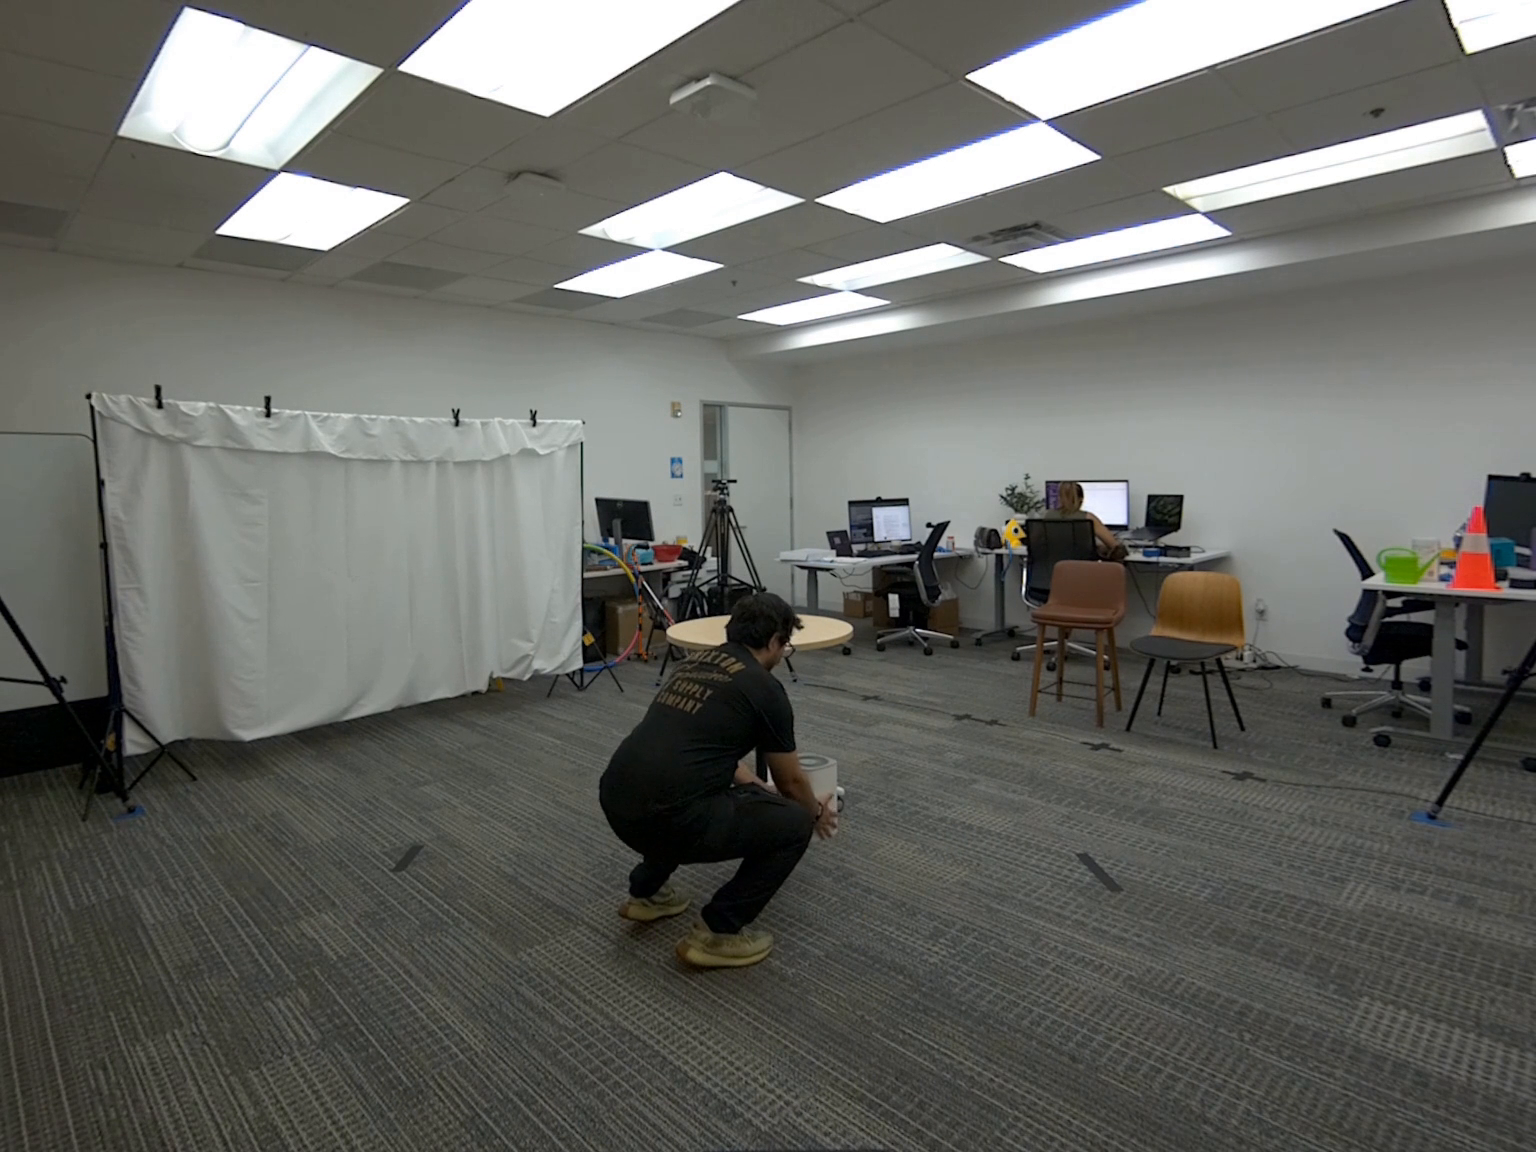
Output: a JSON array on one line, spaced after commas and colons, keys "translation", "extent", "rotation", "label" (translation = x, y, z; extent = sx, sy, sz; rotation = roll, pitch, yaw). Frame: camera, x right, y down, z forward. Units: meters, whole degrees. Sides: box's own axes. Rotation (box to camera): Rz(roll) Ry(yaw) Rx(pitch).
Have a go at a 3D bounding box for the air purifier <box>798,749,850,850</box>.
[{"translation": [0.158, 0.765, 2.961], "extent": [0.177, 0.265, 0.166], "rotation": [2, 3, 44], "label": "air purifier"}]
